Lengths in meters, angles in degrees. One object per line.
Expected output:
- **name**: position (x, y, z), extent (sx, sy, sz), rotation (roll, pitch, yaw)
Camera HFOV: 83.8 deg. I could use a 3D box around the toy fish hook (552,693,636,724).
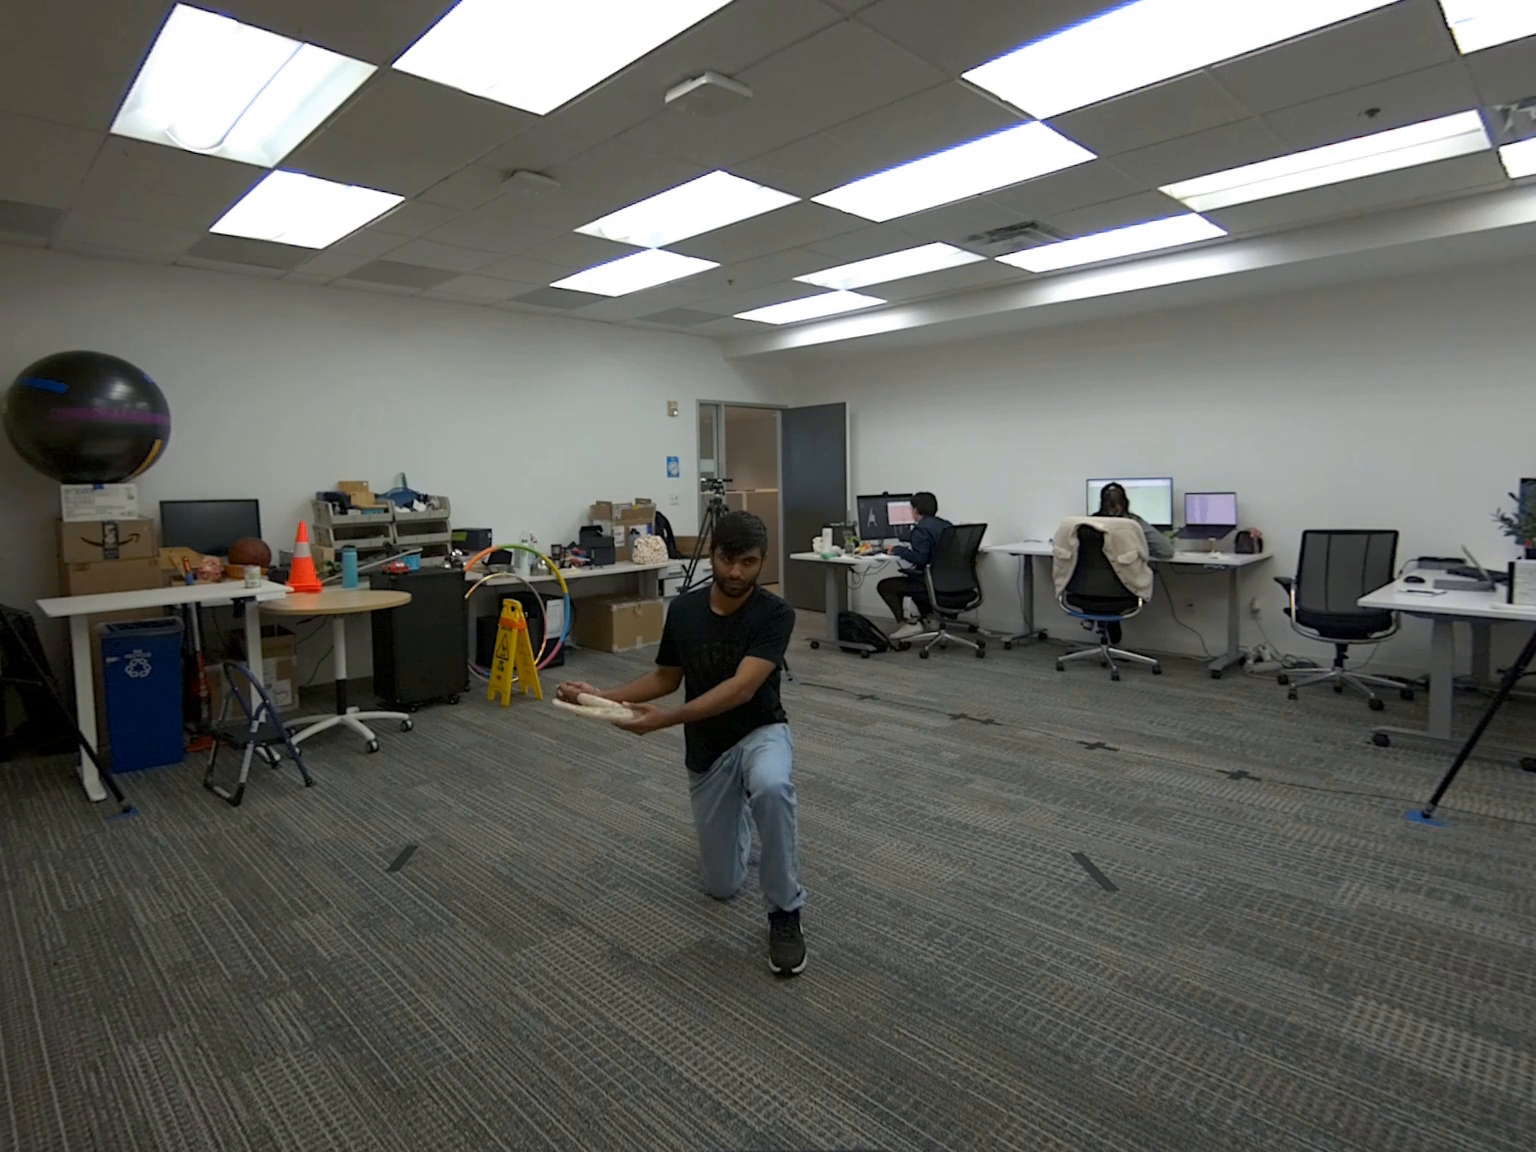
- **toy fish hook**: position (-0.556, 0.371, 2.573), extent (0.217, 0.048, 0.520), rotation (19, -7, -31)
